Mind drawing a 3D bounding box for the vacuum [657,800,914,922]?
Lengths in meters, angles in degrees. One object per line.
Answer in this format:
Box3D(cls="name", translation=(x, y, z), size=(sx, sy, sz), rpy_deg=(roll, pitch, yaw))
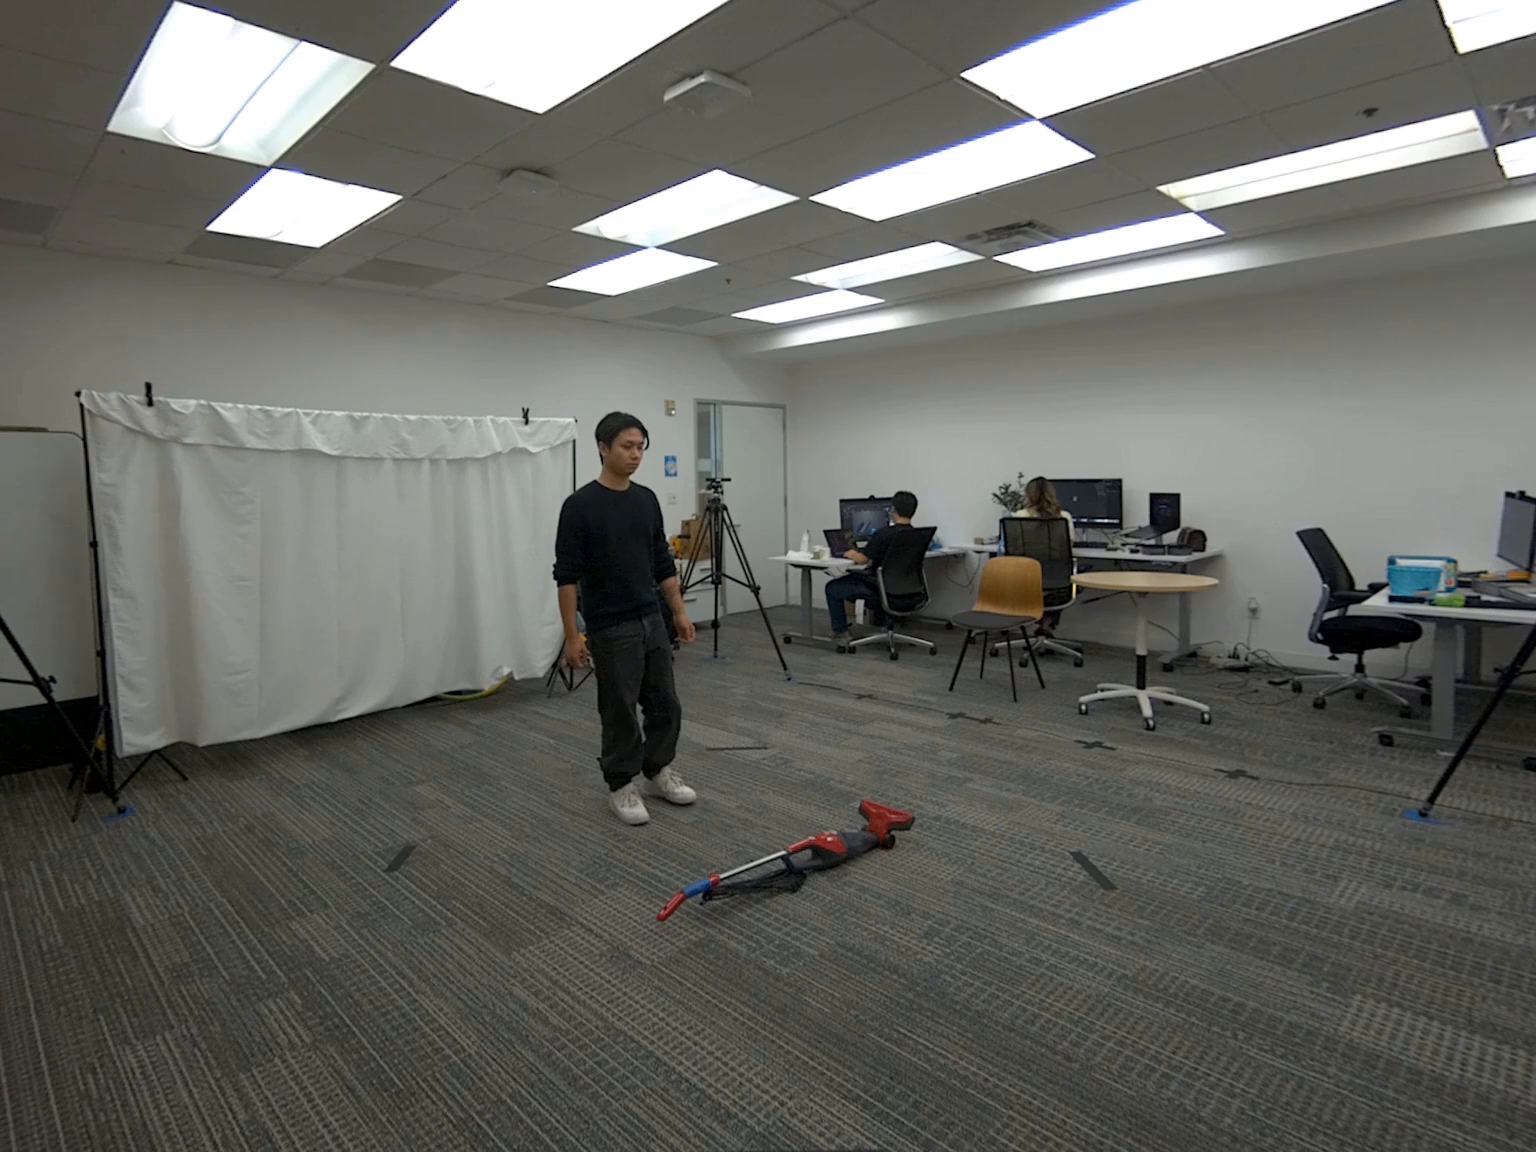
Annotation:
Box3D(cls="vacuum", translation=(0.060, 1.002, 2.937), size=(1.023, 0.143, 0.260), rpy_deg=(-8, 9, -40))
